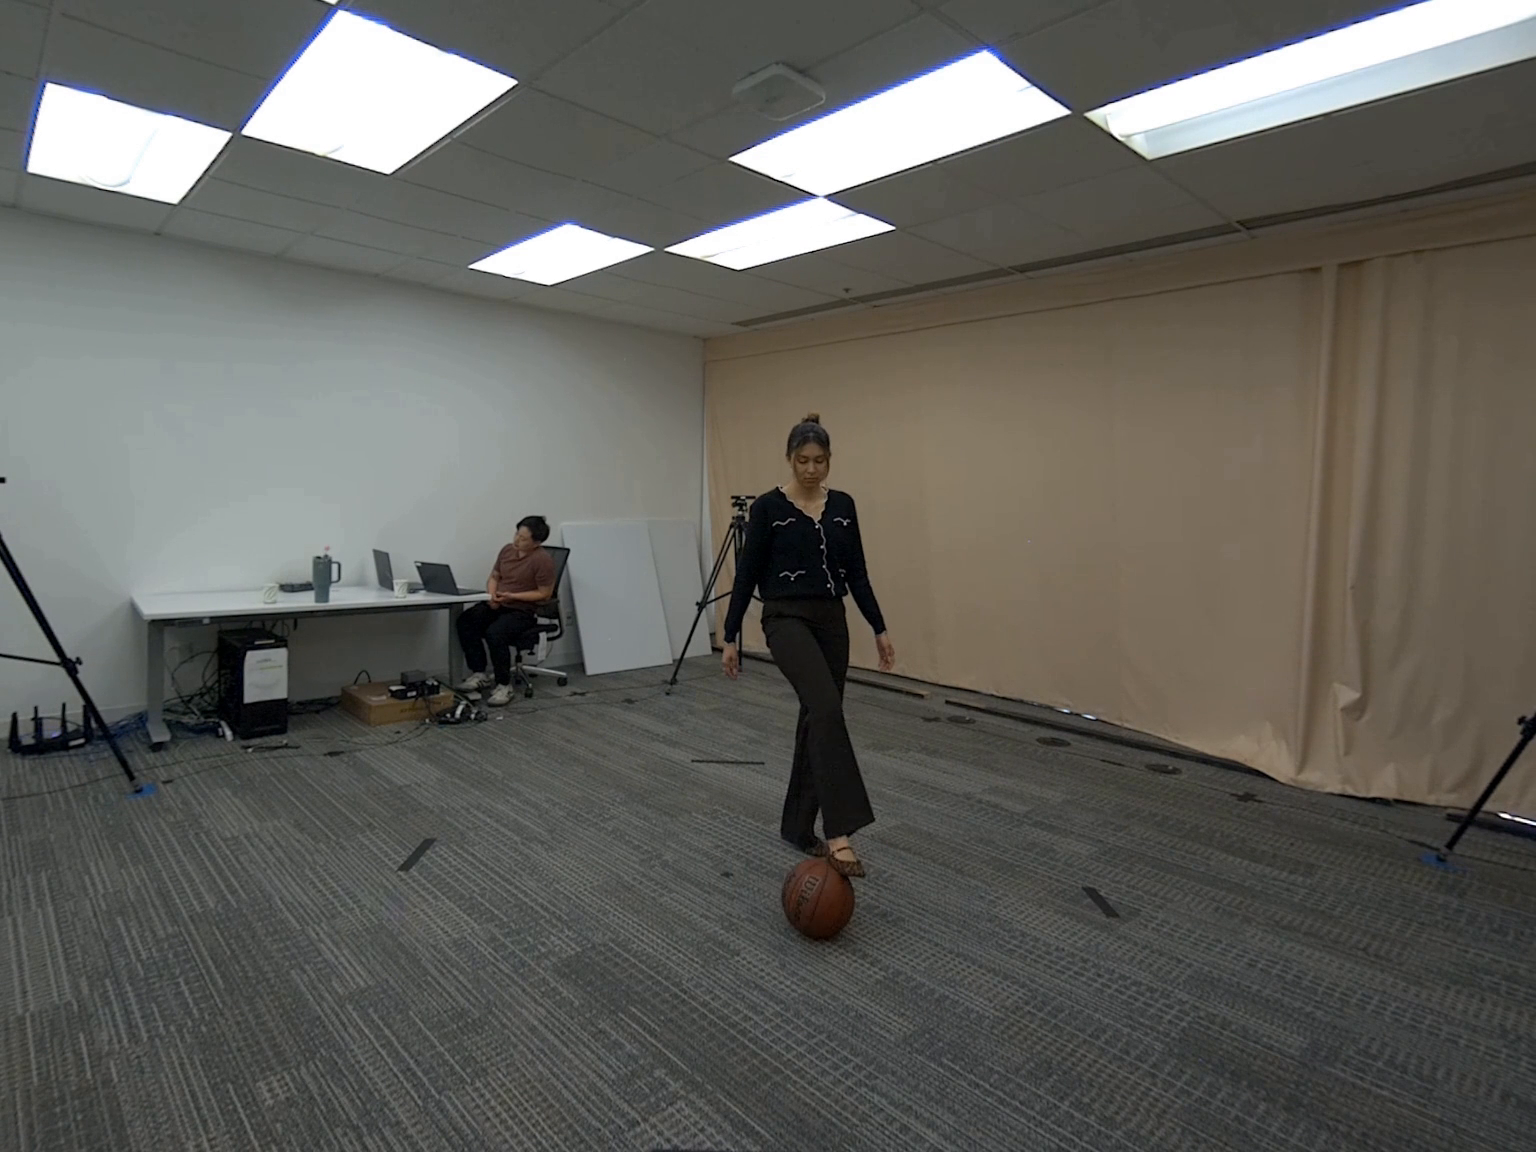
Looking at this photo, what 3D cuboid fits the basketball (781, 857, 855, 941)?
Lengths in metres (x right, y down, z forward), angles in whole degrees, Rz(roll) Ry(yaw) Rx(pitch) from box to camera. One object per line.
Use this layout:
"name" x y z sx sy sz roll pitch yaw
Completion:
"basketball" 0.150 1.032 2.700 0.236 0.235 0.237 1 4 -1
